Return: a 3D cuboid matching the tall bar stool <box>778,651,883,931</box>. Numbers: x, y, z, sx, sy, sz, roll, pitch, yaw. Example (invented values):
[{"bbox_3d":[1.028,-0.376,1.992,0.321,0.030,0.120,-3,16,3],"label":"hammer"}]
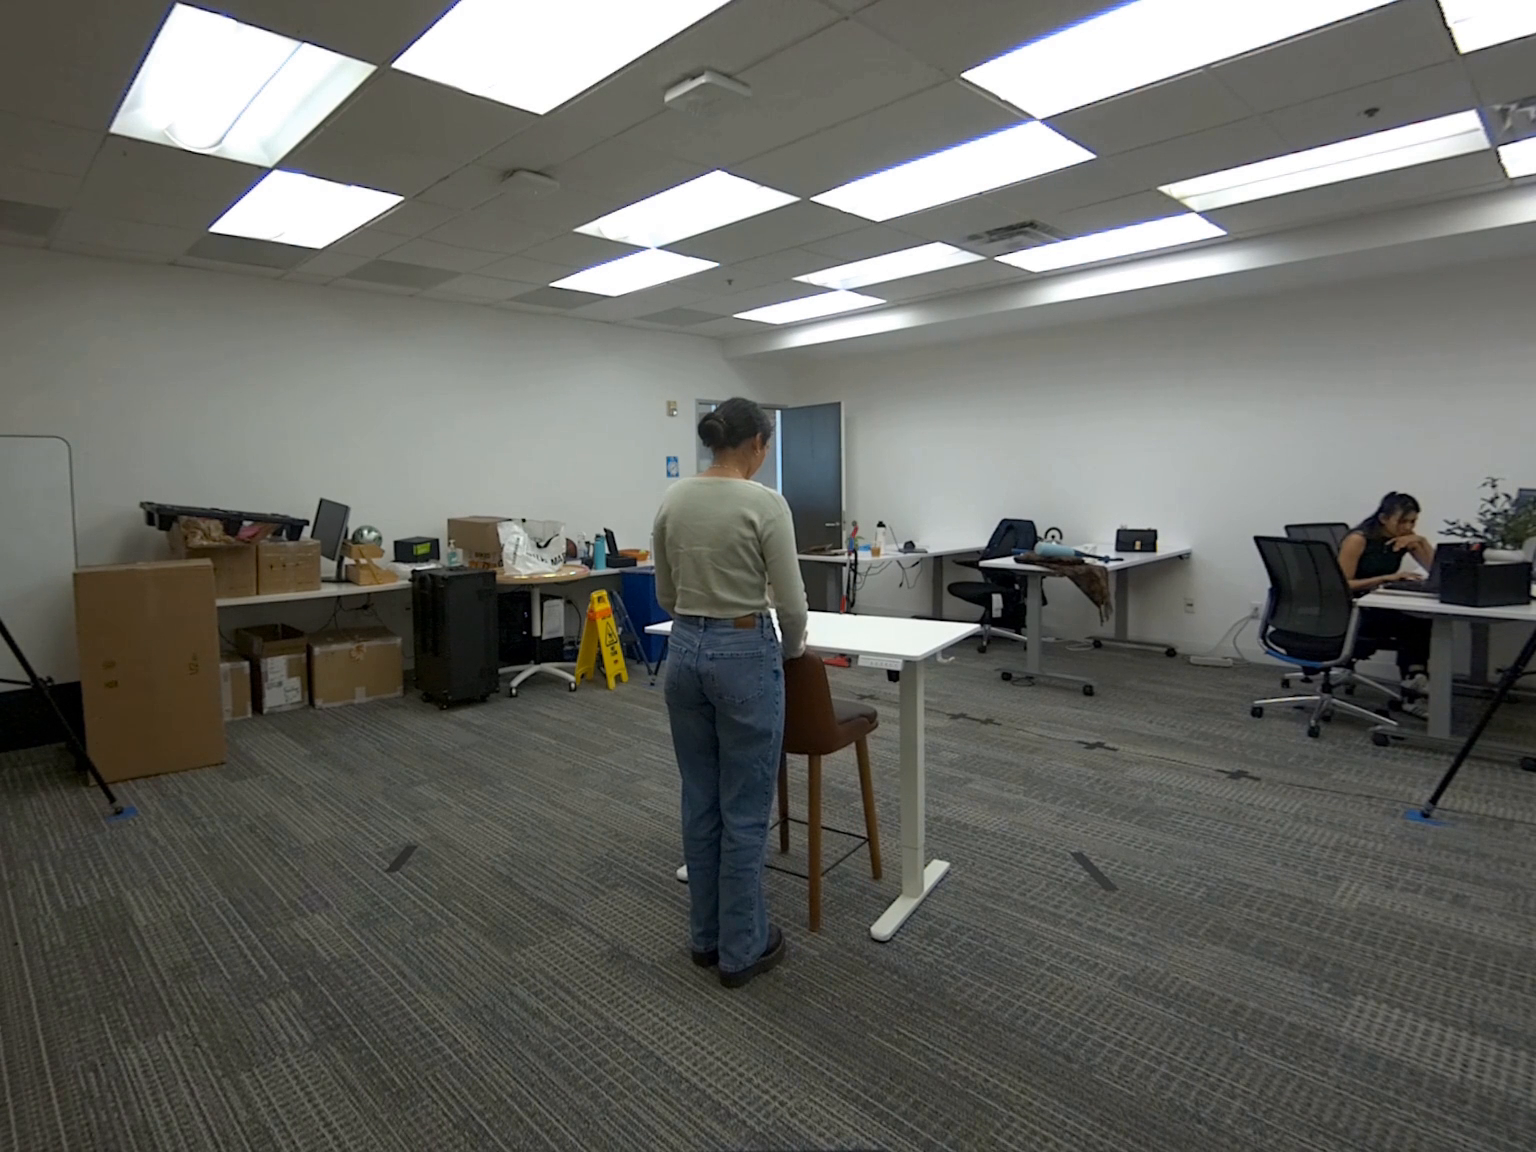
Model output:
[{"bbox_3d":[0.102,0.637,2.878,0.469,0.885,0.457,2,7,33],"label":"tall bar stool"}]
